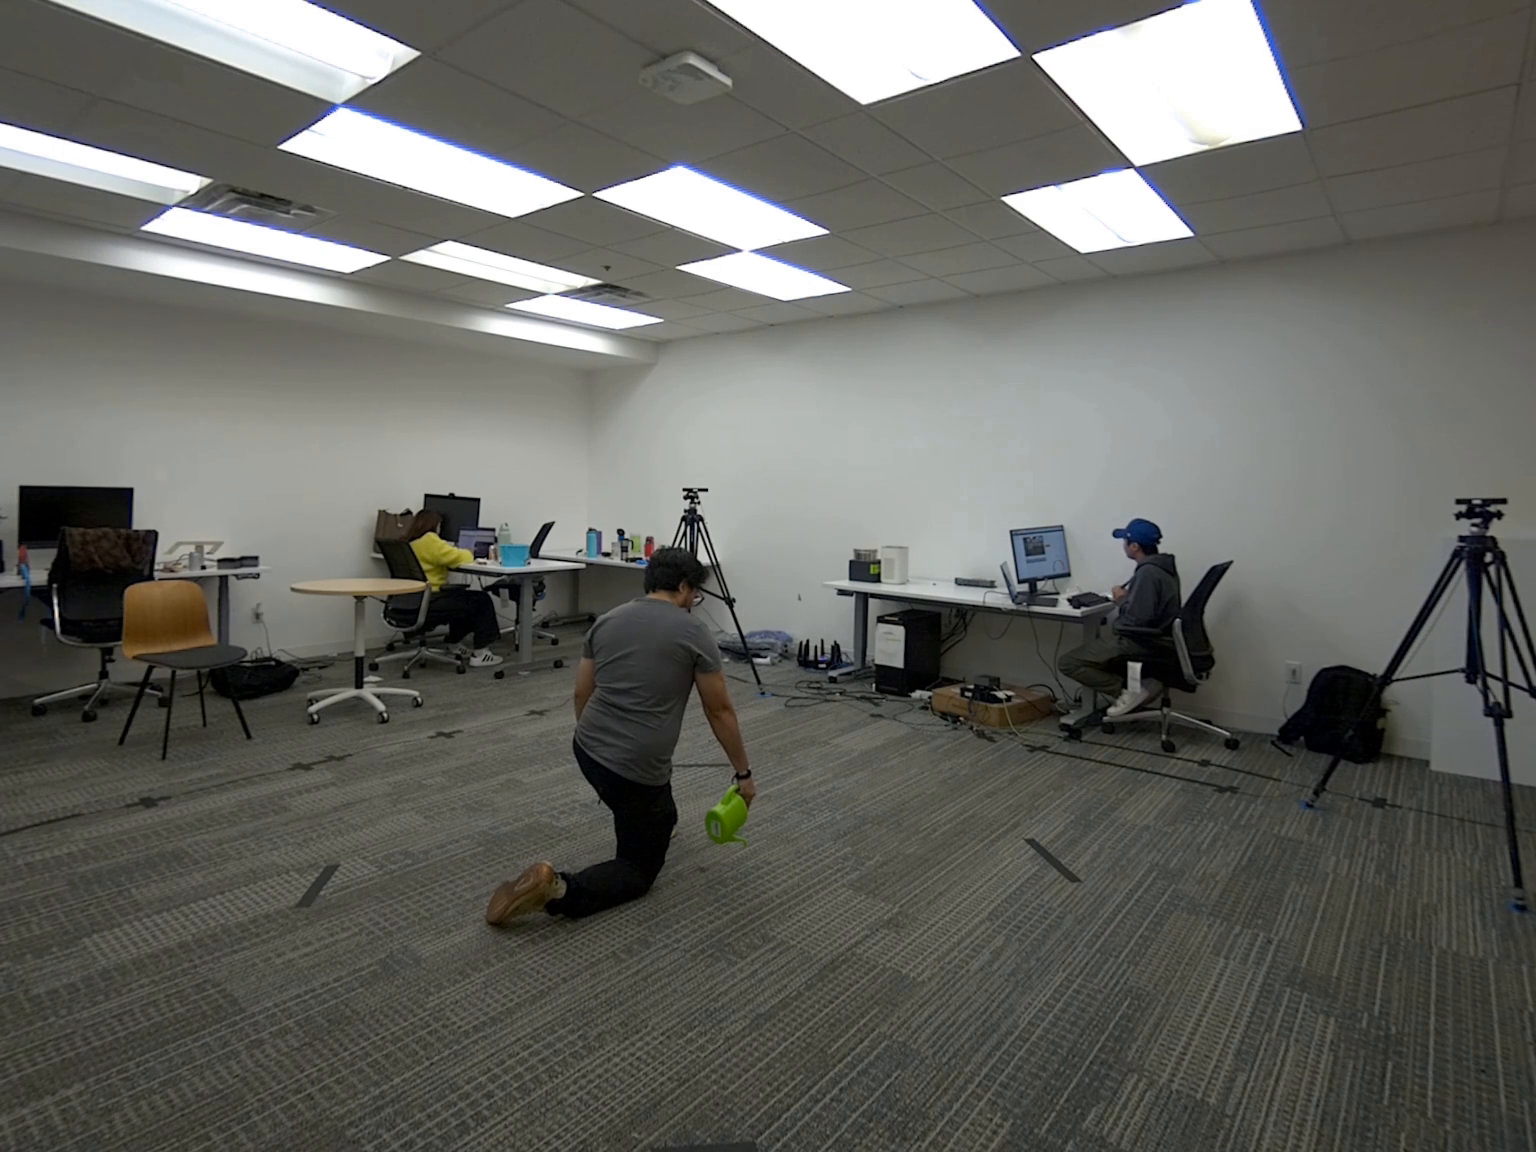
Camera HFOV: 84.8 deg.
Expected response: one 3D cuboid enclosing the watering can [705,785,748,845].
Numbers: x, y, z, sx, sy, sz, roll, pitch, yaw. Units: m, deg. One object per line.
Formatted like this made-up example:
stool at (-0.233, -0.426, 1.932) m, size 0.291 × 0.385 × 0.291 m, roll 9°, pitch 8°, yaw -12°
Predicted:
watering can at (-0.135, 0.882, 2.990) m, size 0.101 × 0.275 × 0.174 m, roll -6°, pitch 13°, yaw 37°
